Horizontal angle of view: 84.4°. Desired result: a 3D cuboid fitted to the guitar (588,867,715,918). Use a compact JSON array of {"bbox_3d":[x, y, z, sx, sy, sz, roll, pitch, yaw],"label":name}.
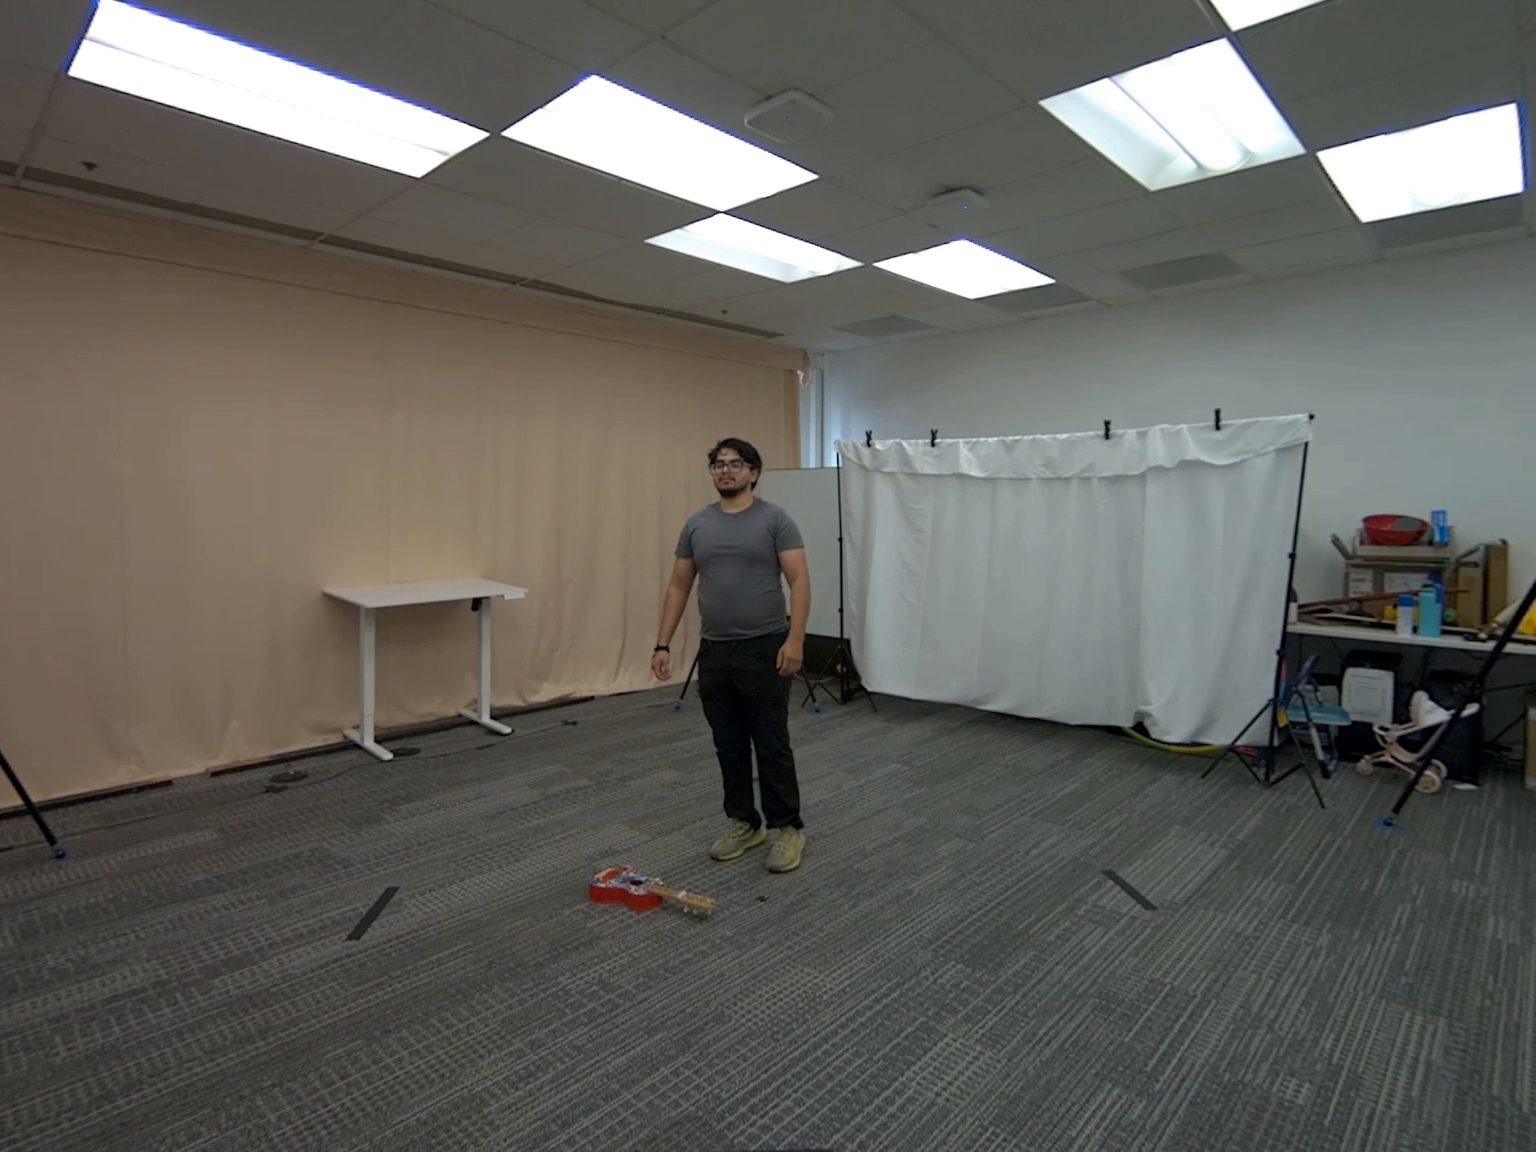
[{"bbox_3d":[-0.417,1.119,2.922,0.514,0.070,0.187,3,5,40],"label":"guitar"}]
